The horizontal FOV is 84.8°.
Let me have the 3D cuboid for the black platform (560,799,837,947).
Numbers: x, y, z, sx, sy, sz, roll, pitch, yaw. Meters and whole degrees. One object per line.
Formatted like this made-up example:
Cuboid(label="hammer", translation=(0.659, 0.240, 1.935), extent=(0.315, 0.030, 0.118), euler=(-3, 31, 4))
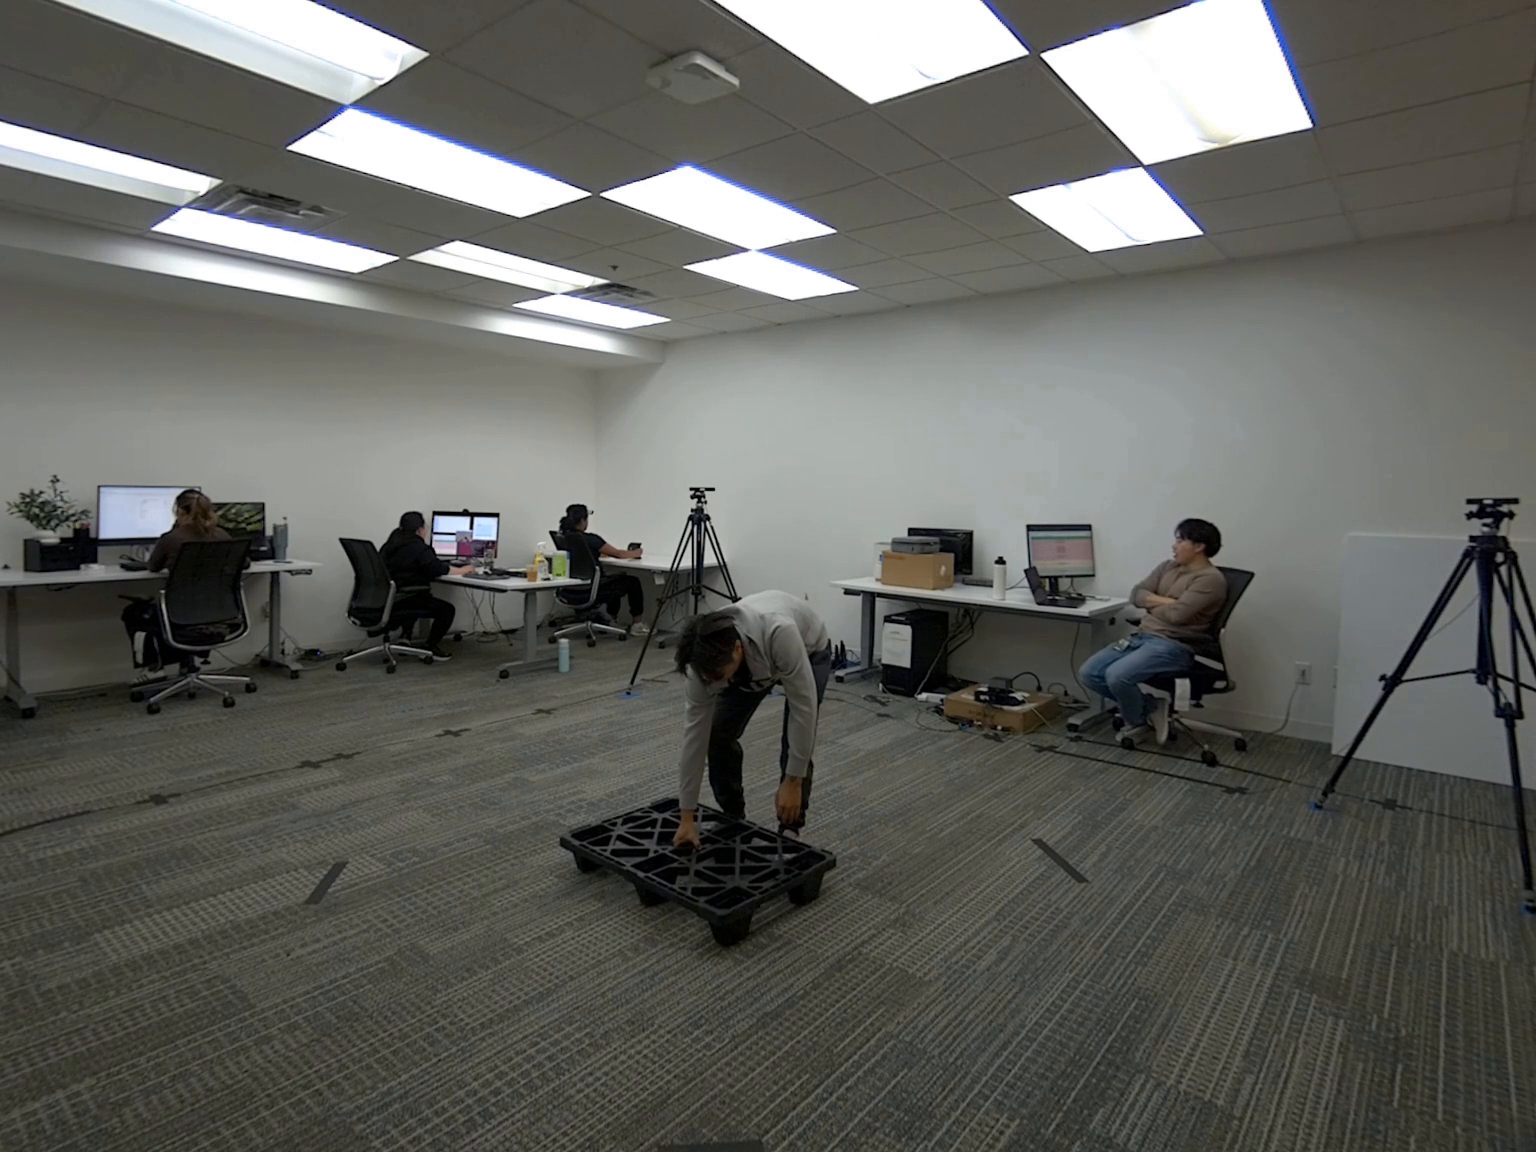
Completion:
Cuboid(label="black platform", translation=(-0.269, 1.008, 2.989), extent=(0.833, 0.143, 0.587), euler=(6, 7, 41))
